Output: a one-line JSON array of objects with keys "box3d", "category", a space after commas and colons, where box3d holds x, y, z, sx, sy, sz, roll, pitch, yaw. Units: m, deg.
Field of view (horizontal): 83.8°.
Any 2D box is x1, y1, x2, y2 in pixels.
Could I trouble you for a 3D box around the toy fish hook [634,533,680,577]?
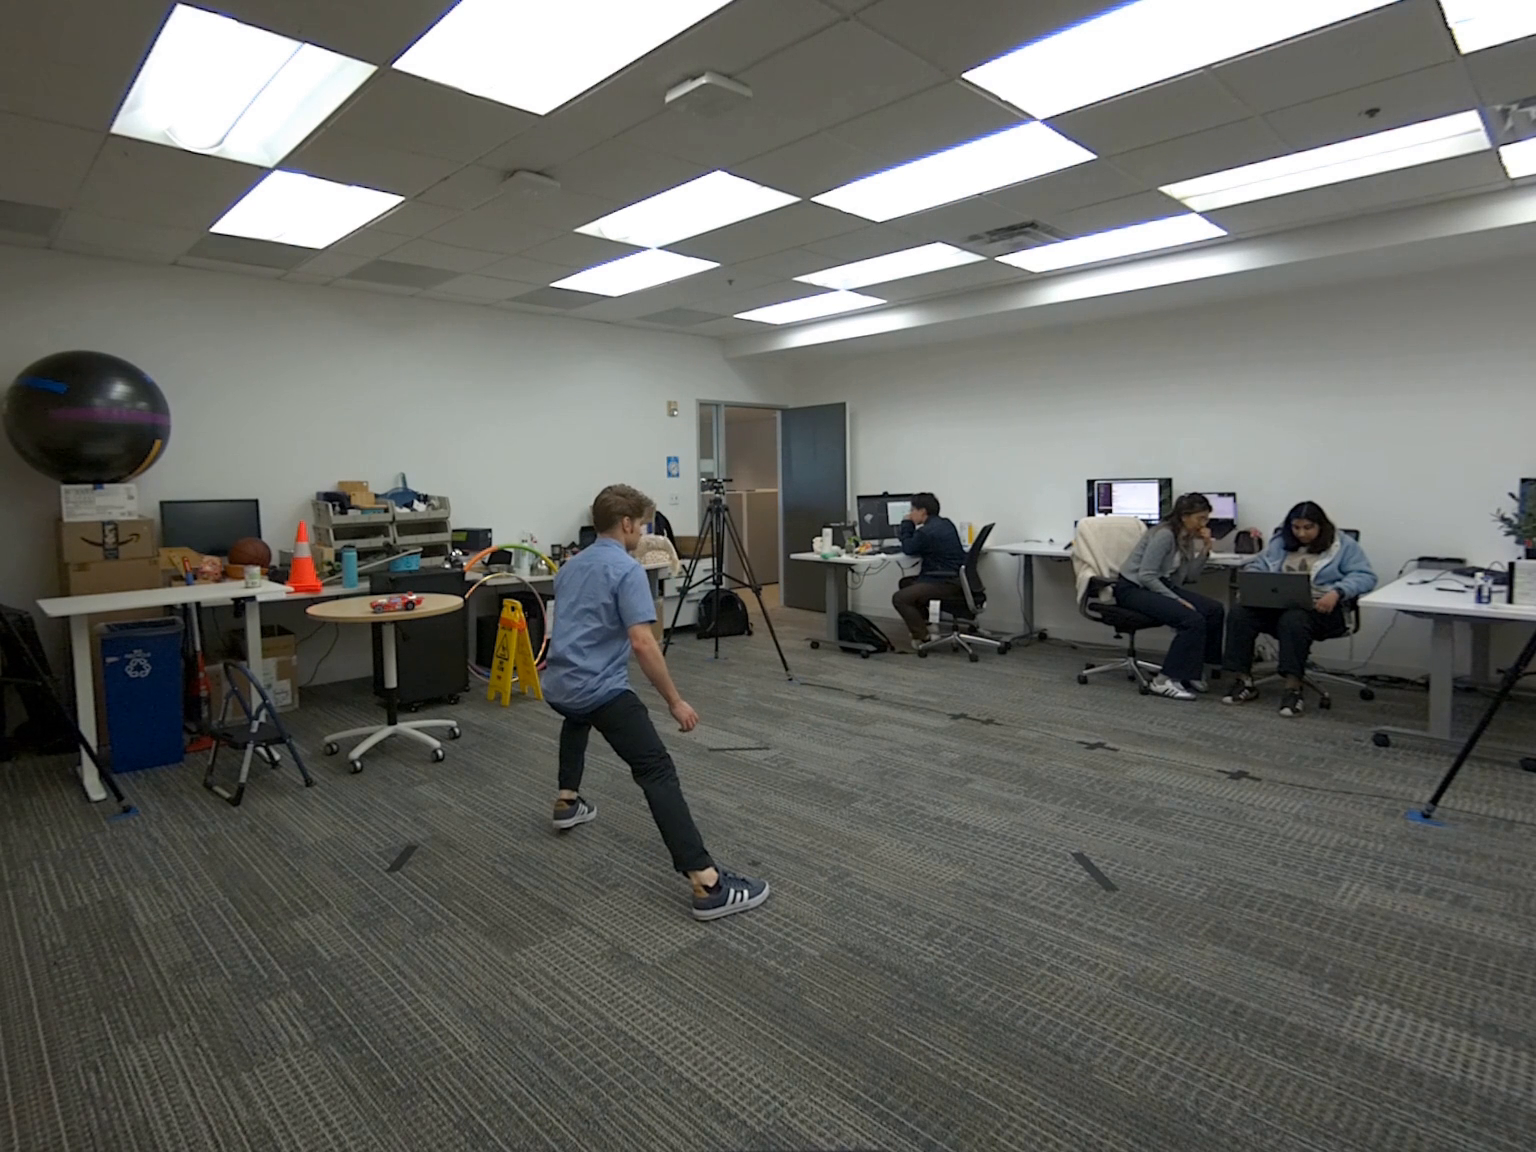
[{"box3d": [-0.494, 0.072, 3.659, 0.226, 0.513, 0.047, 1, -15, 7], "category": "toy fish hook"}]
